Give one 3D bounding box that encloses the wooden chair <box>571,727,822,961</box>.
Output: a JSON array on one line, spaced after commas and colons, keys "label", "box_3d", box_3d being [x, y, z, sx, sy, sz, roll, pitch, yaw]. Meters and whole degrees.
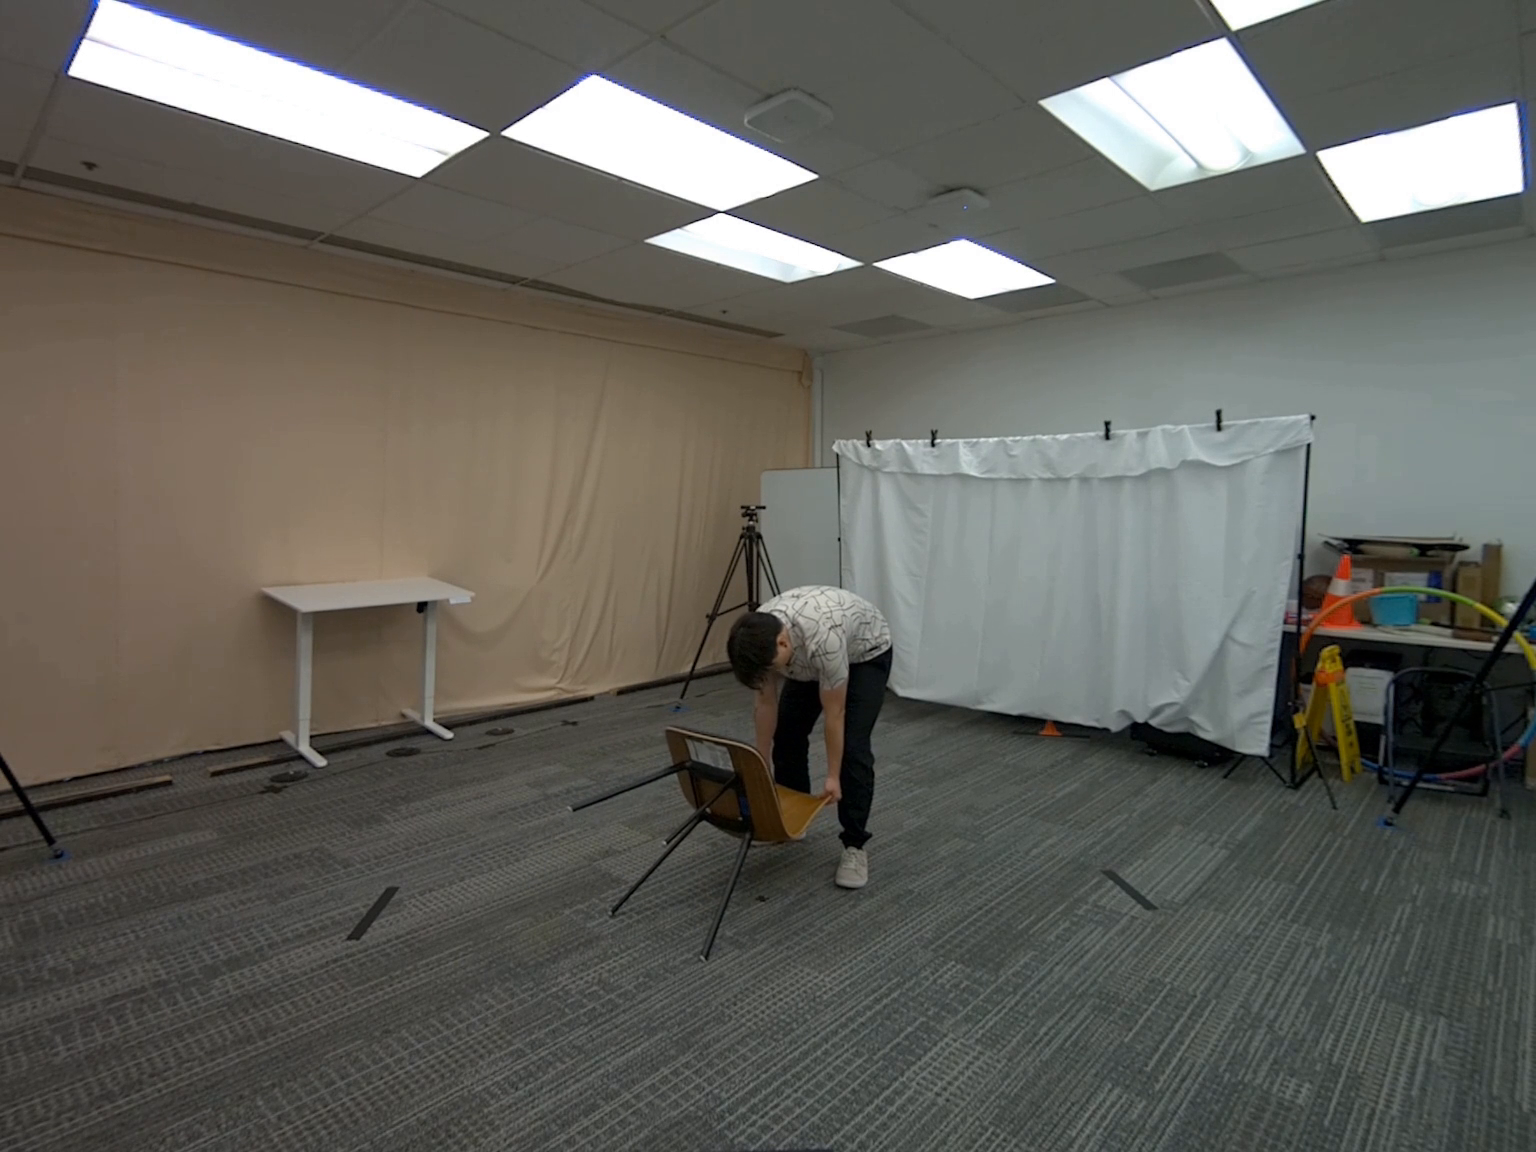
[{"label": "wooden chair", "box_3d": [-0.162, 0.769, 2.942, 0.494, 0.516, 0.860, 2, 22, 42]}]
